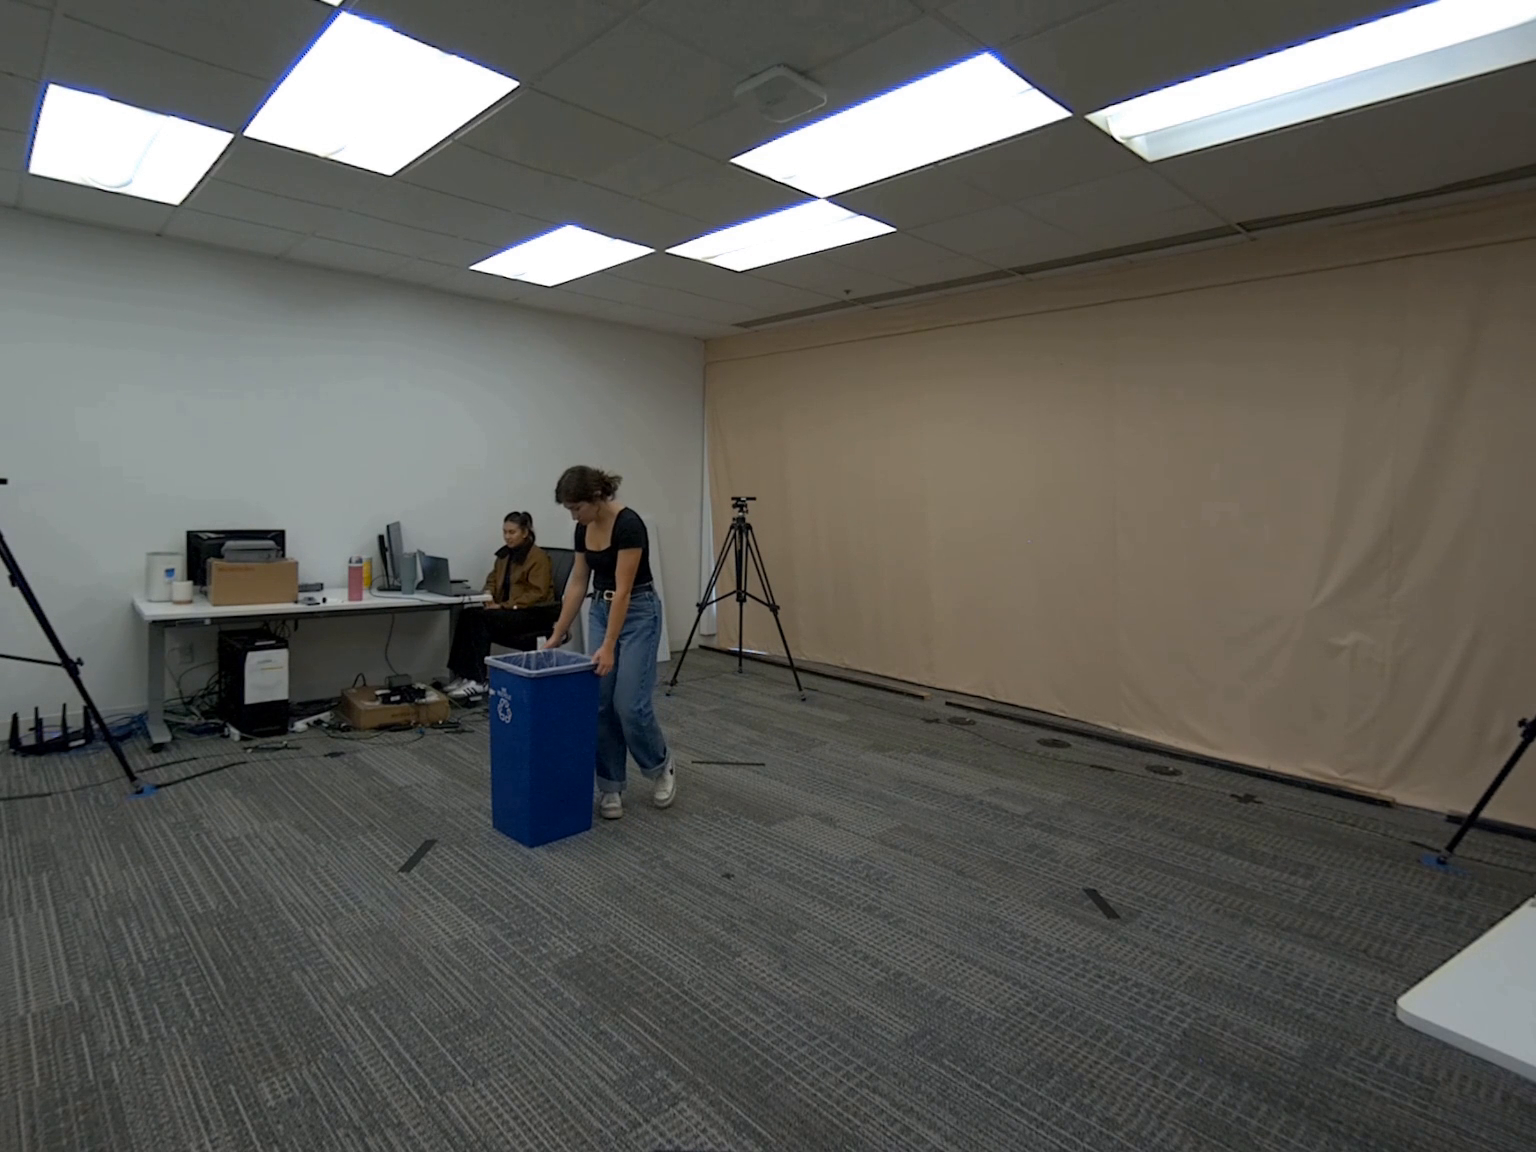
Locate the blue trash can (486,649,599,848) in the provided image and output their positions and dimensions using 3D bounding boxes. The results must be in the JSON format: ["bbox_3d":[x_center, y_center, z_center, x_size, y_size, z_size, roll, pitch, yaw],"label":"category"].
[{"bbox_3d":[-0.933,0.696,3.488,0.384,0.711,0.369,5,5,44],"label":"blue trash can"}]
